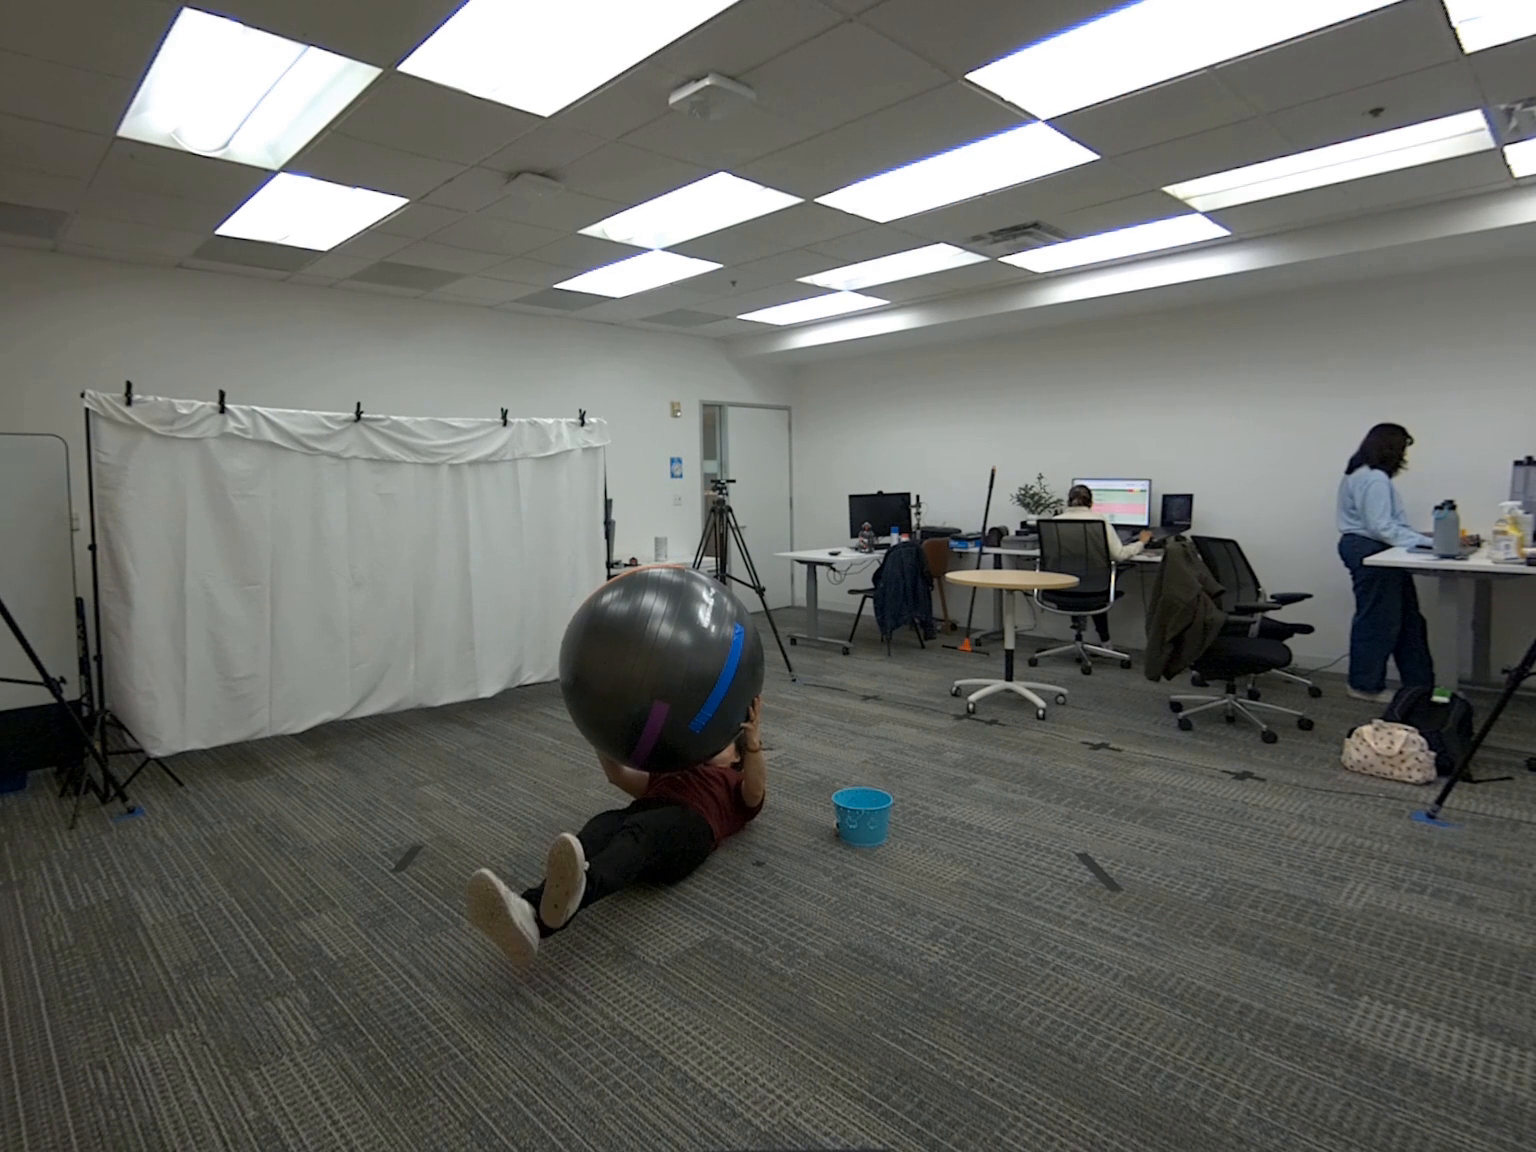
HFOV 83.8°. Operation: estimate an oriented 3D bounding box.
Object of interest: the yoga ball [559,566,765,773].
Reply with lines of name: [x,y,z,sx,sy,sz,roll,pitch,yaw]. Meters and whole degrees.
yoga ball: [-0.392,0.341,3.182,0.757,0.755,0.762,-1,5,-2]
